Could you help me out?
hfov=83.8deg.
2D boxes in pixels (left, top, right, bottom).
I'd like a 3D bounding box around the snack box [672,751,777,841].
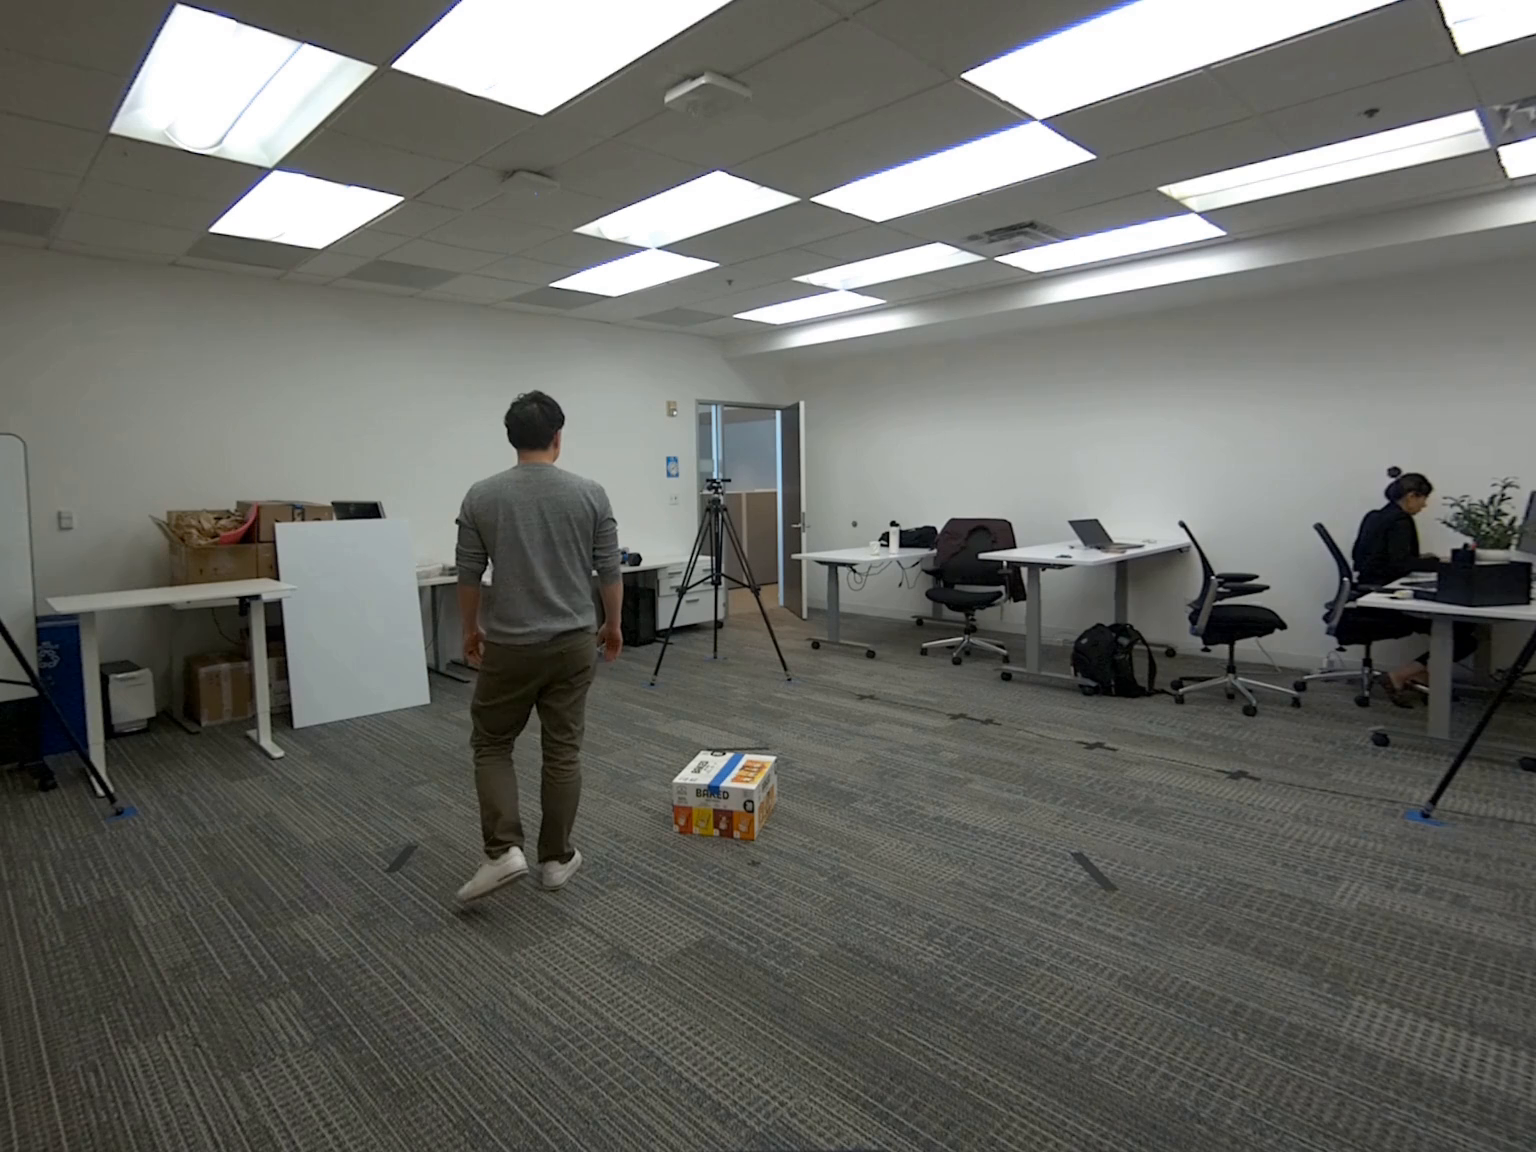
[{"bbox_3d":[-0.174,0.900,3.538,0.345,0.205,0.401,1,6,14],"label":"snack box"}]
